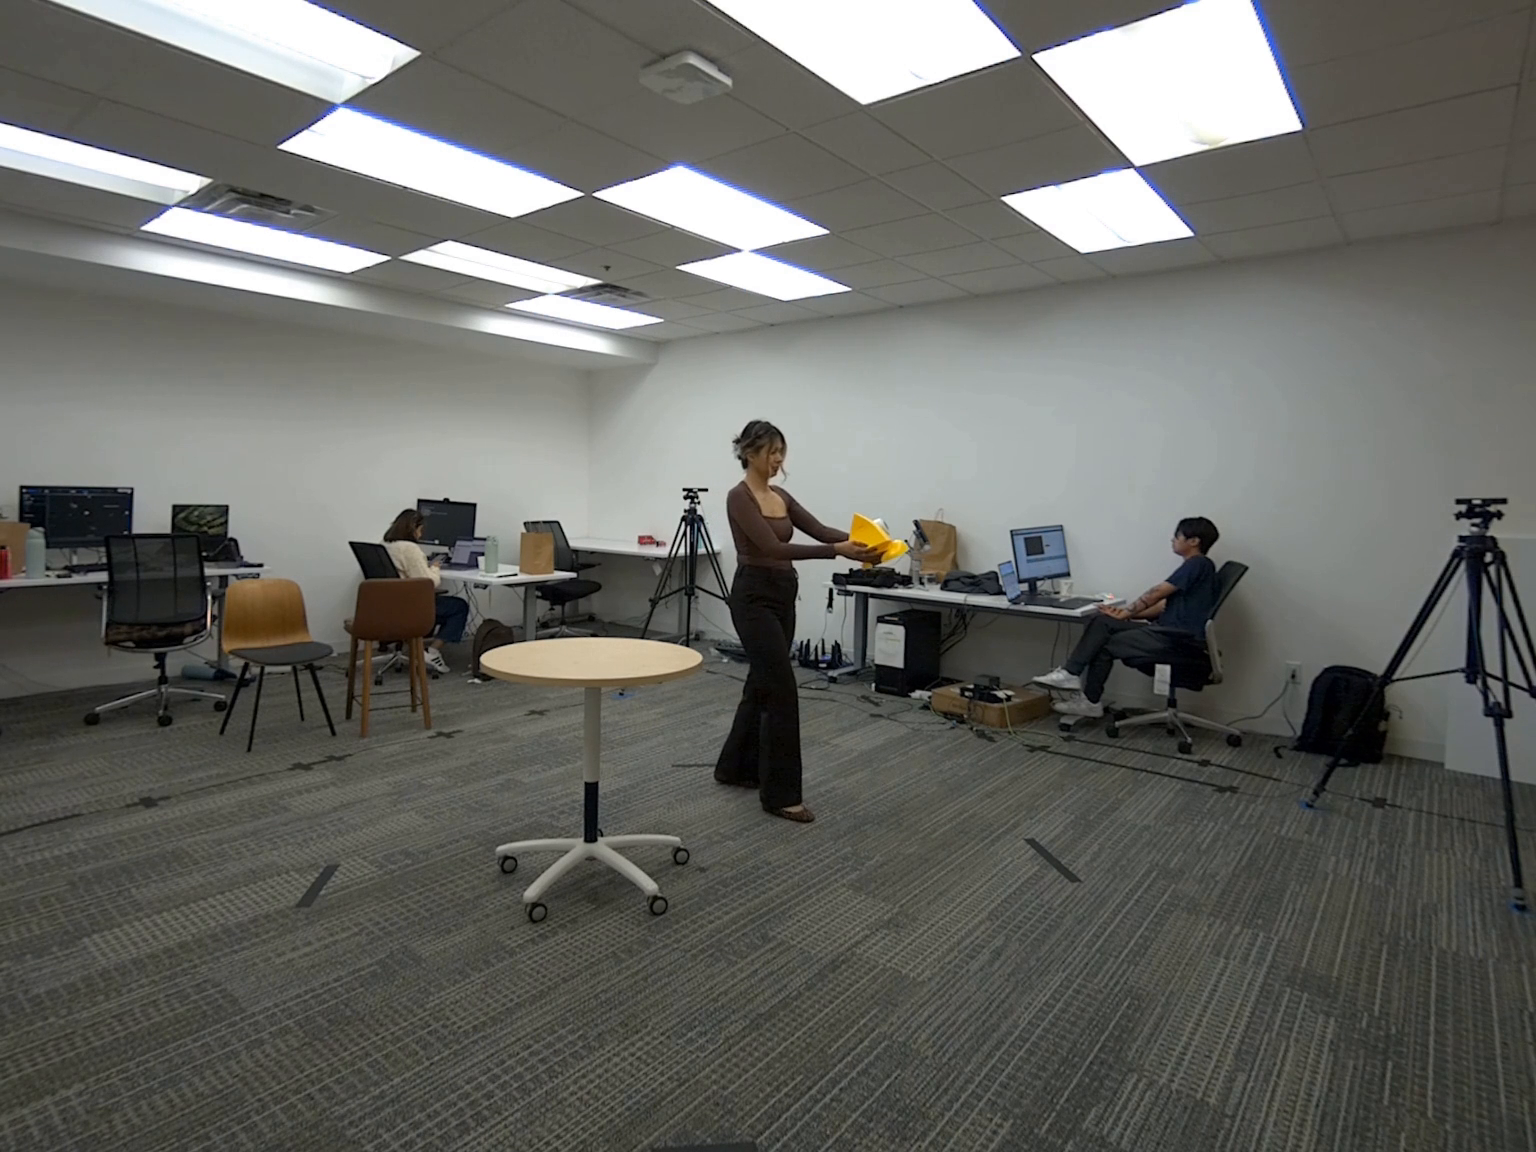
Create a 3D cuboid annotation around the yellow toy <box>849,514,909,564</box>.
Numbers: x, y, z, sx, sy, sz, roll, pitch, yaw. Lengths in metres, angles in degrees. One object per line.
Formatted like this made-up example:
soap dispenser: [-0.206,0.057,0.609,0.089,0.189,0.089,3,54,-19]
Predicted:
yellow toy: [0.423,-0.176,3.482,0.208,0.231,0.190,-24,1,39]
